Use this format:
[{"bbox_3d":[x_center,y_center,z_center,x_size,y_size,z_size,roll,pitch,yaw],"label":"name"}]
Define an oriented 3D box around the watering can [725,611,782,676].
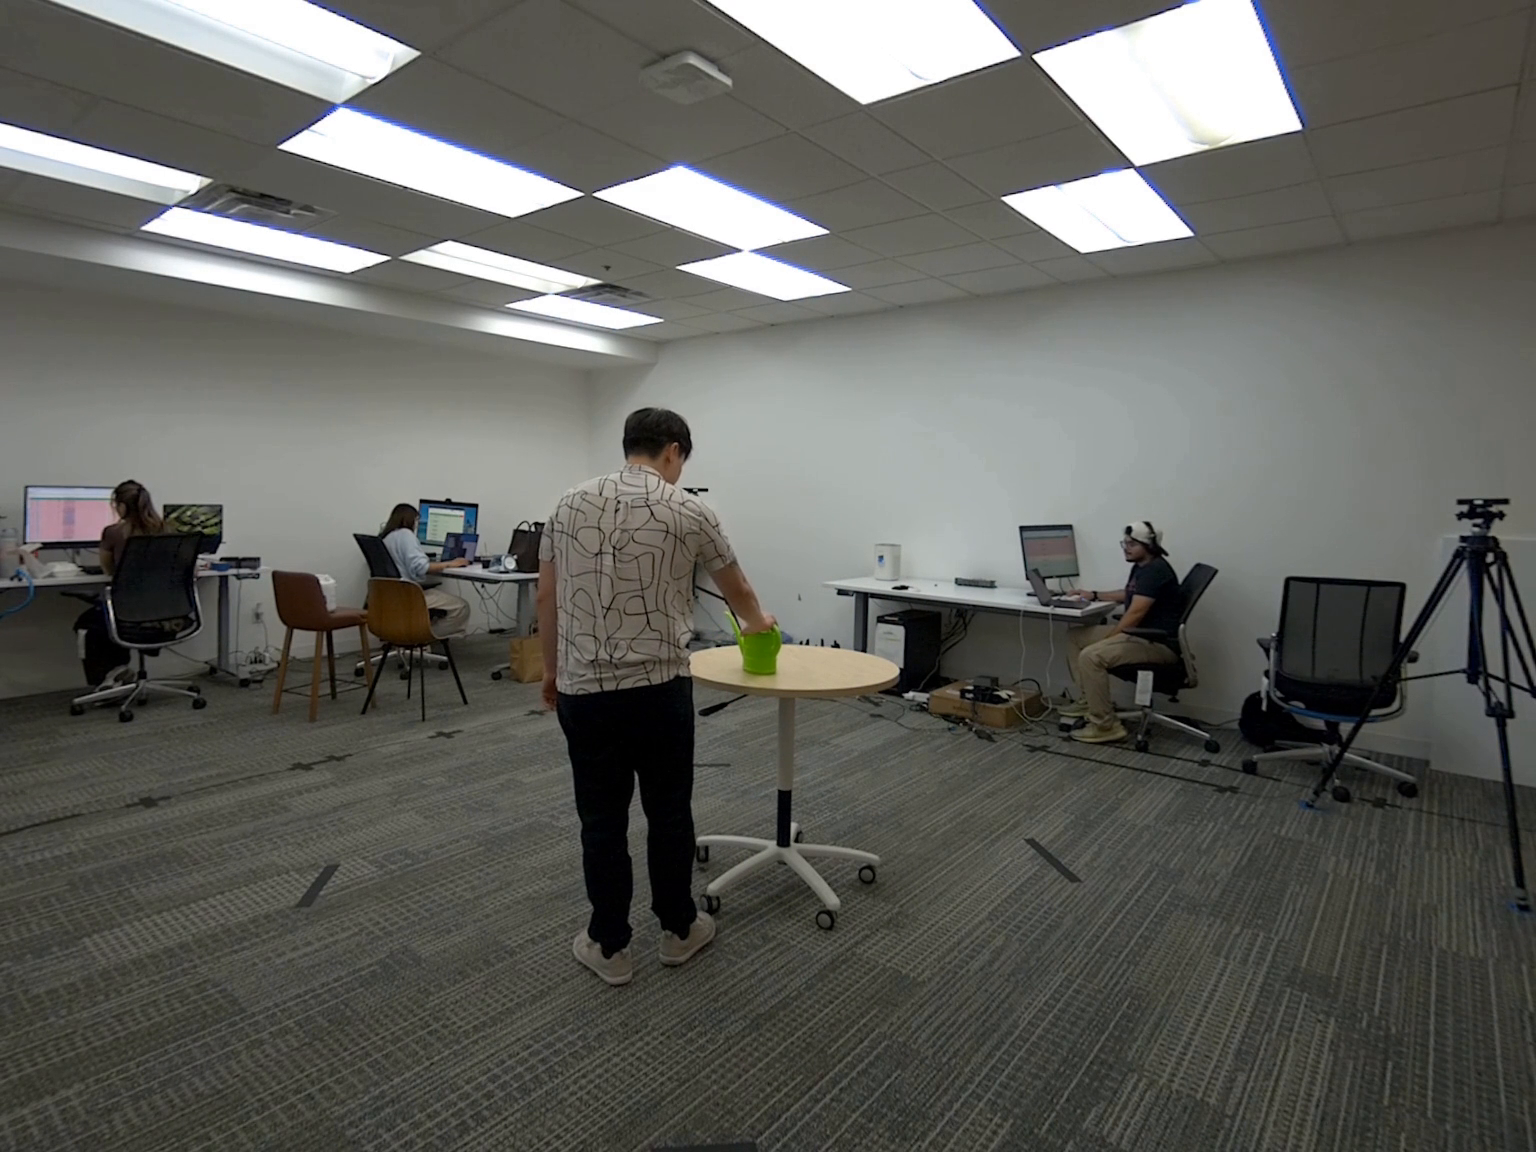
[{"bbox_3d":[-0.057,0.226,2.881,0.095,0.176,0.287,0,6,-29],"label":"watering can"}]
